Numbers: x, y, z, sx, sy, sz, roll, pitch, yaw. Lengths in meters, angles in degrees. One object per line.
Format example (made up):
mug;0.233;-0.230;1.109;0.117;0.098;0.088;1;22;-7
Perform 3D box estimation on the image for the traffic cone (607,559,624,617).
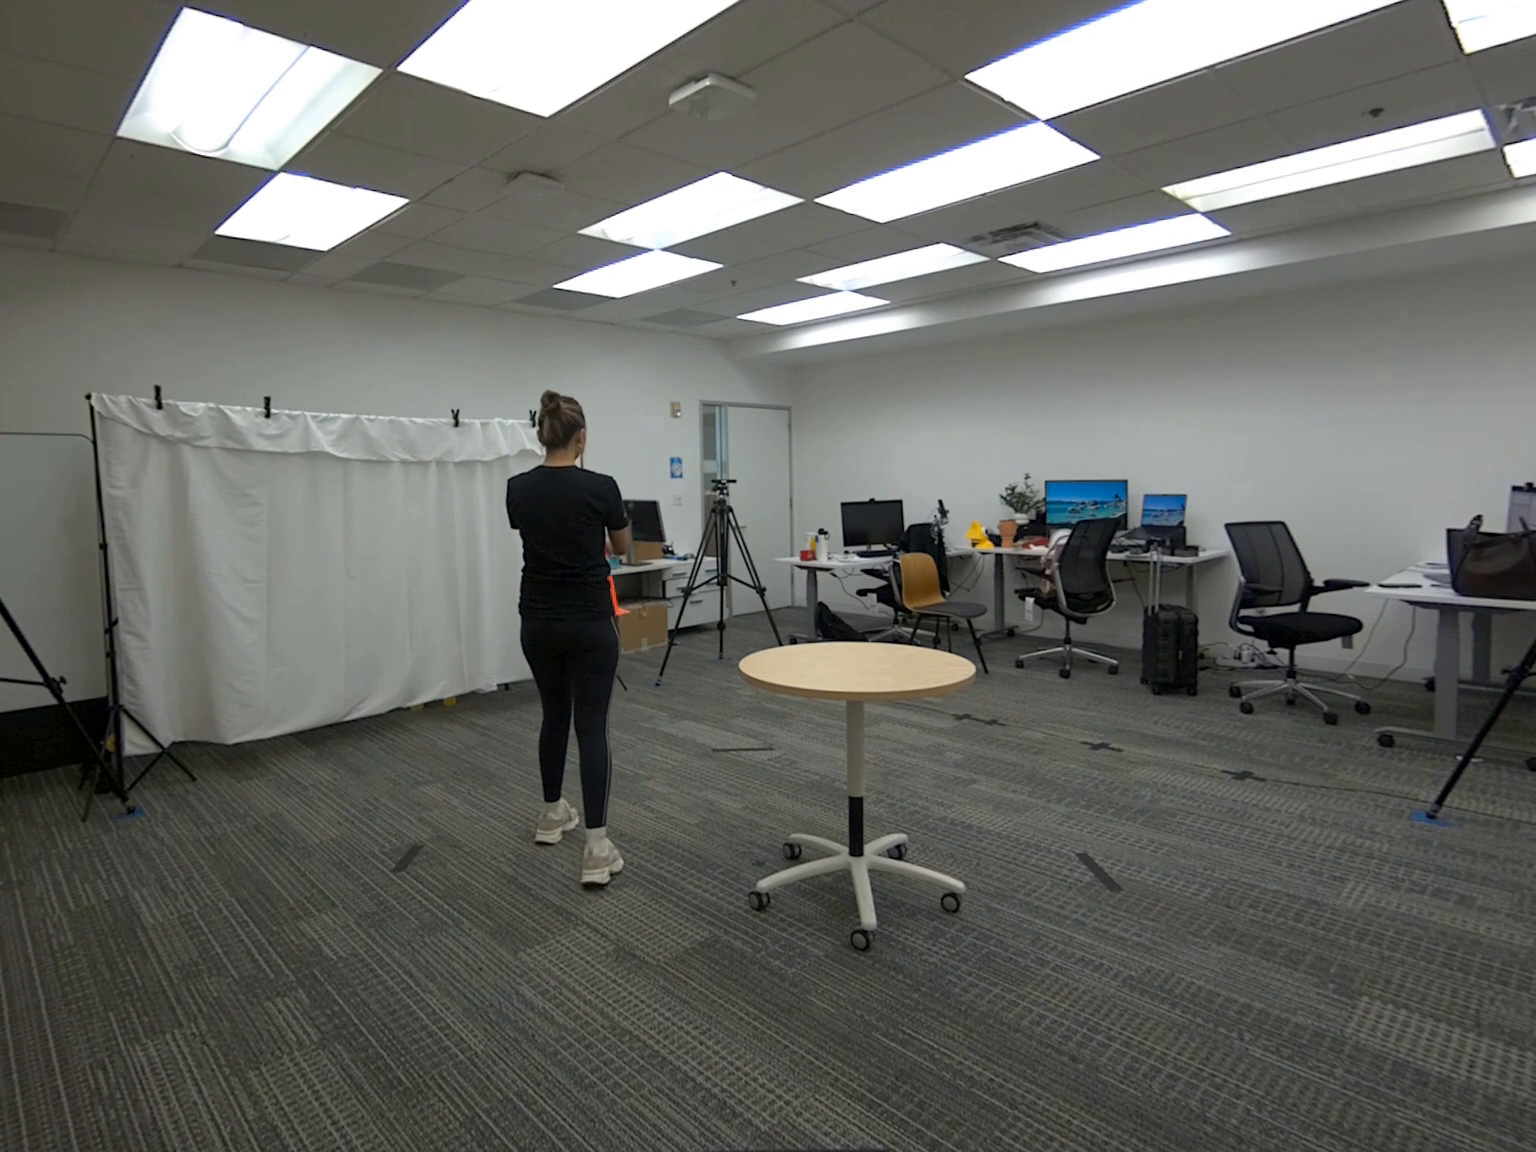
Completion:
traffic cone;-0.719;-0.030;3.671;0.209;0.382;0.200;8;7;32
